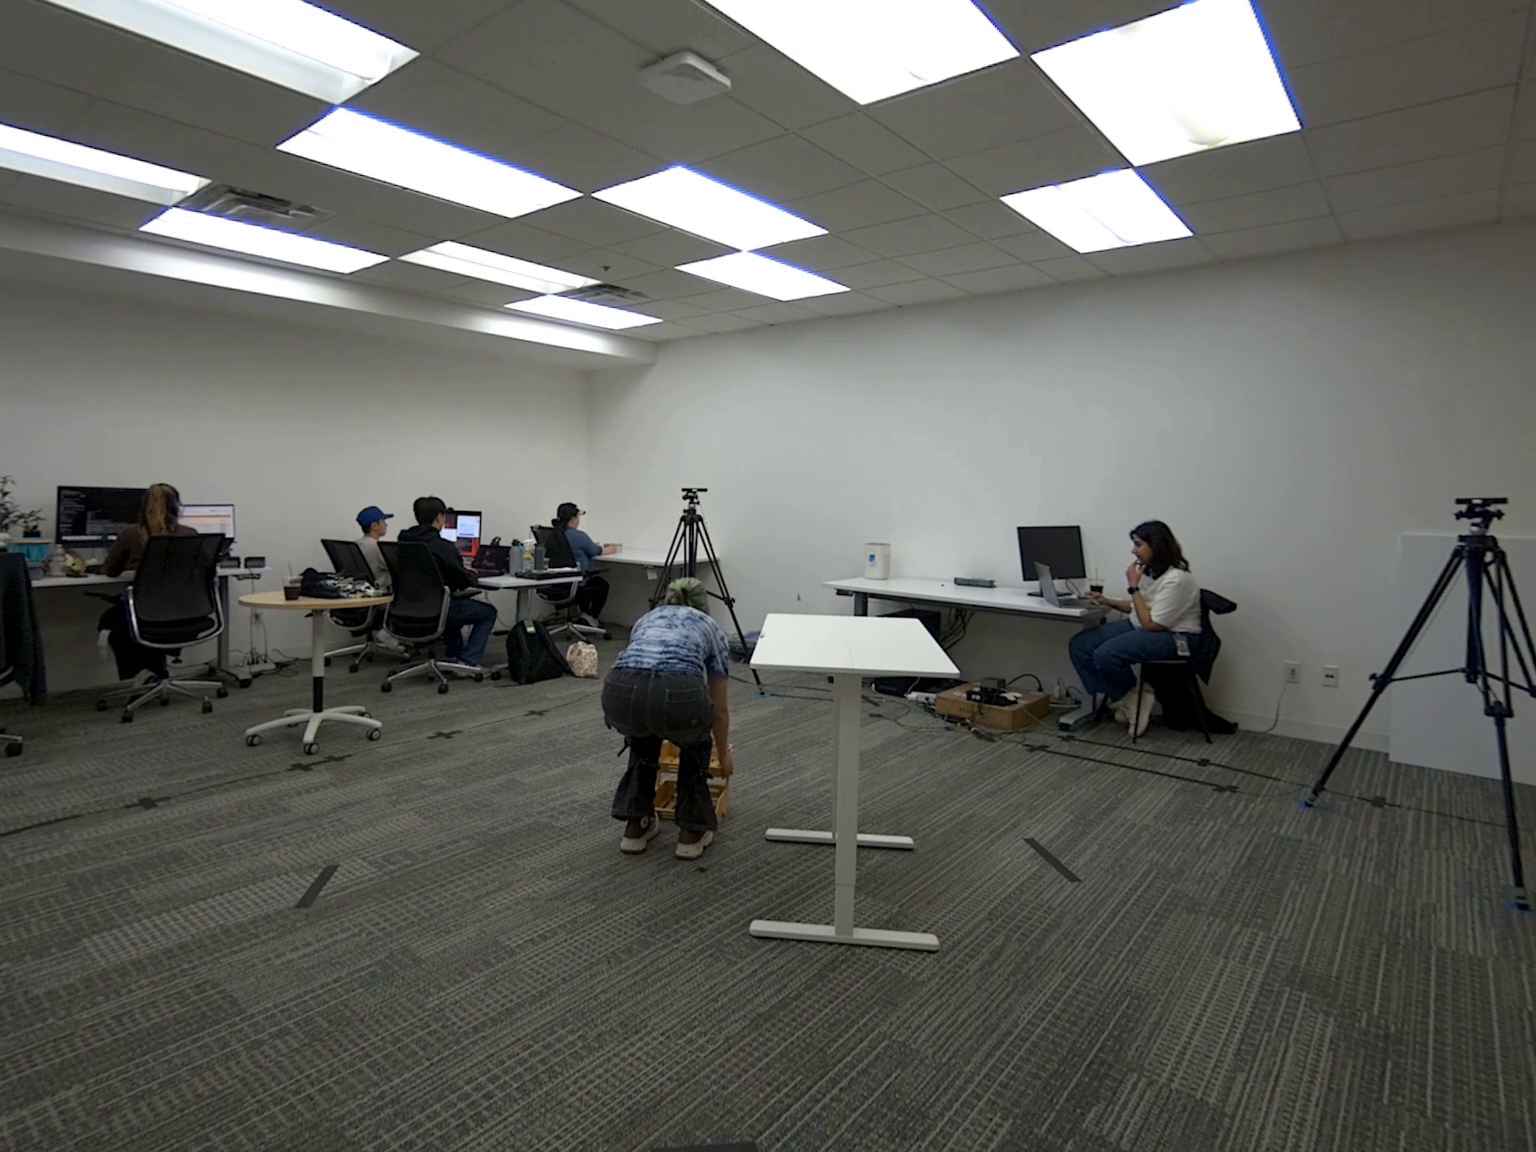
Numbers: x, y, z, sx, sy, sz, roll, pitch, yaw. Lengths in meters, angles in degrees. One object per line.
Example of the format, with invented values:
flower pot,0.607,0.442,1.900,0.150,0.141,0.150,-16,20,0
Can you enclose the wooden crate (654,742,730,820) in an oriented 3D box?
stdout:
wooden crate,-0.340,0.877,3.671,0.329,0.272,0.299,1,4,12
